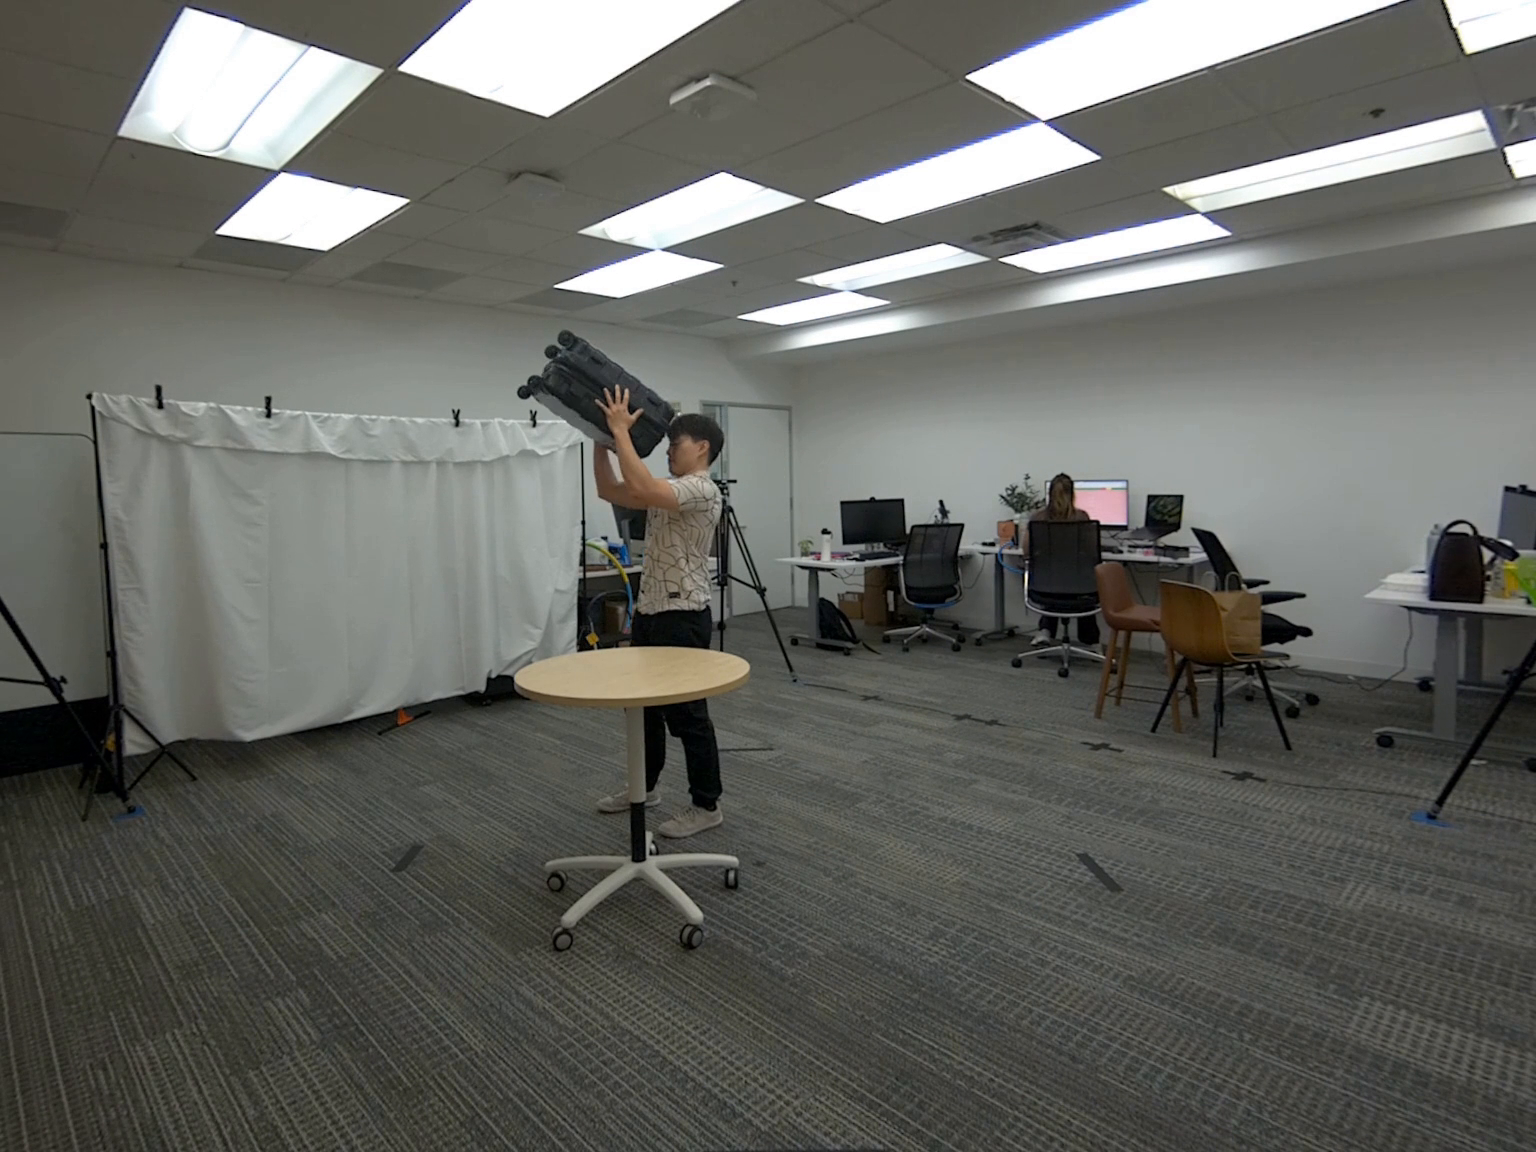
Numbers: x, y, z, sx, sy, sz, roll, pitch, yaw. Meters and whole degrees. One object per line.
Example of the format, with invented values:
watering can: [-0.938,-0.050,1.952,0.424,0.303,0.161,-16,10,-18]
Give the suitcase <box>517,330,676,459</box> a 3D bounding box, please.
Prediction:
suitcase: [-0.656,-0.686,3.344,0.536,0.249,0.384,33,-9,-20]
